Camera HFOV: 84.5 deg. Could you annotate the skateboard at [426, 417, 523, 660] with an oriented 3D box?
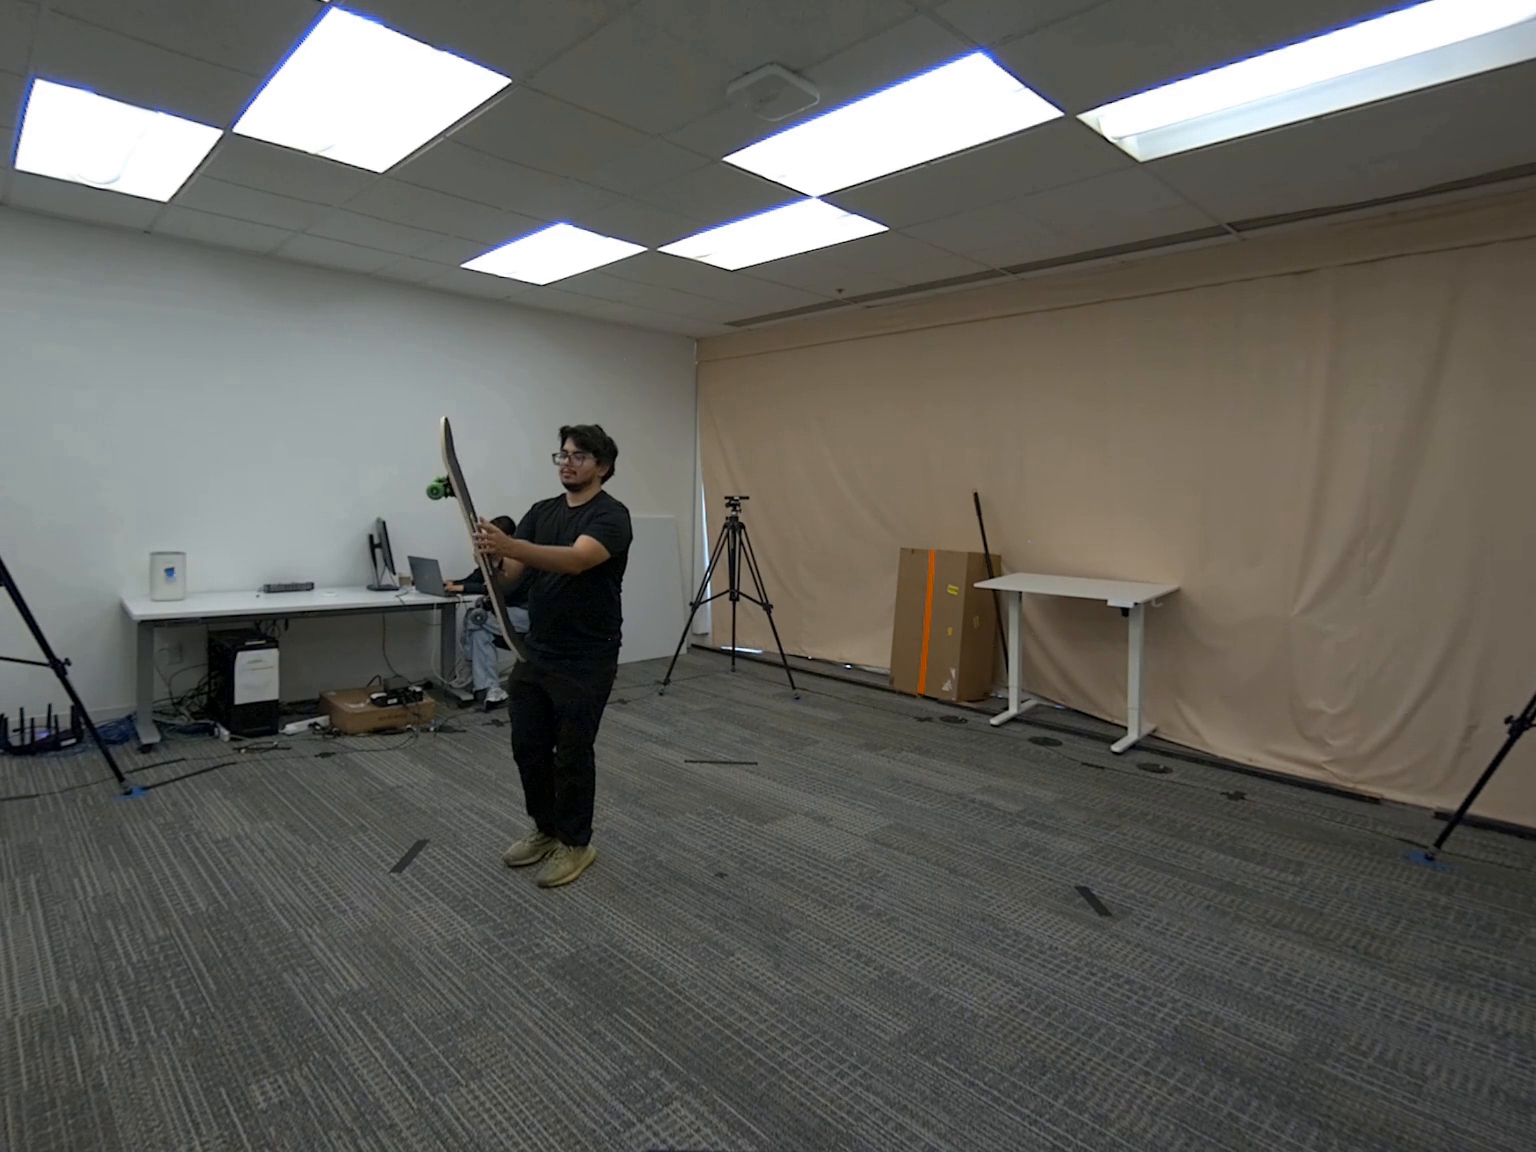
[{"bbox_3d":[-0.908,-0.079,2.563,0.110,0.776,0.197,-16,14,-9],"label":"skateboard"}]
